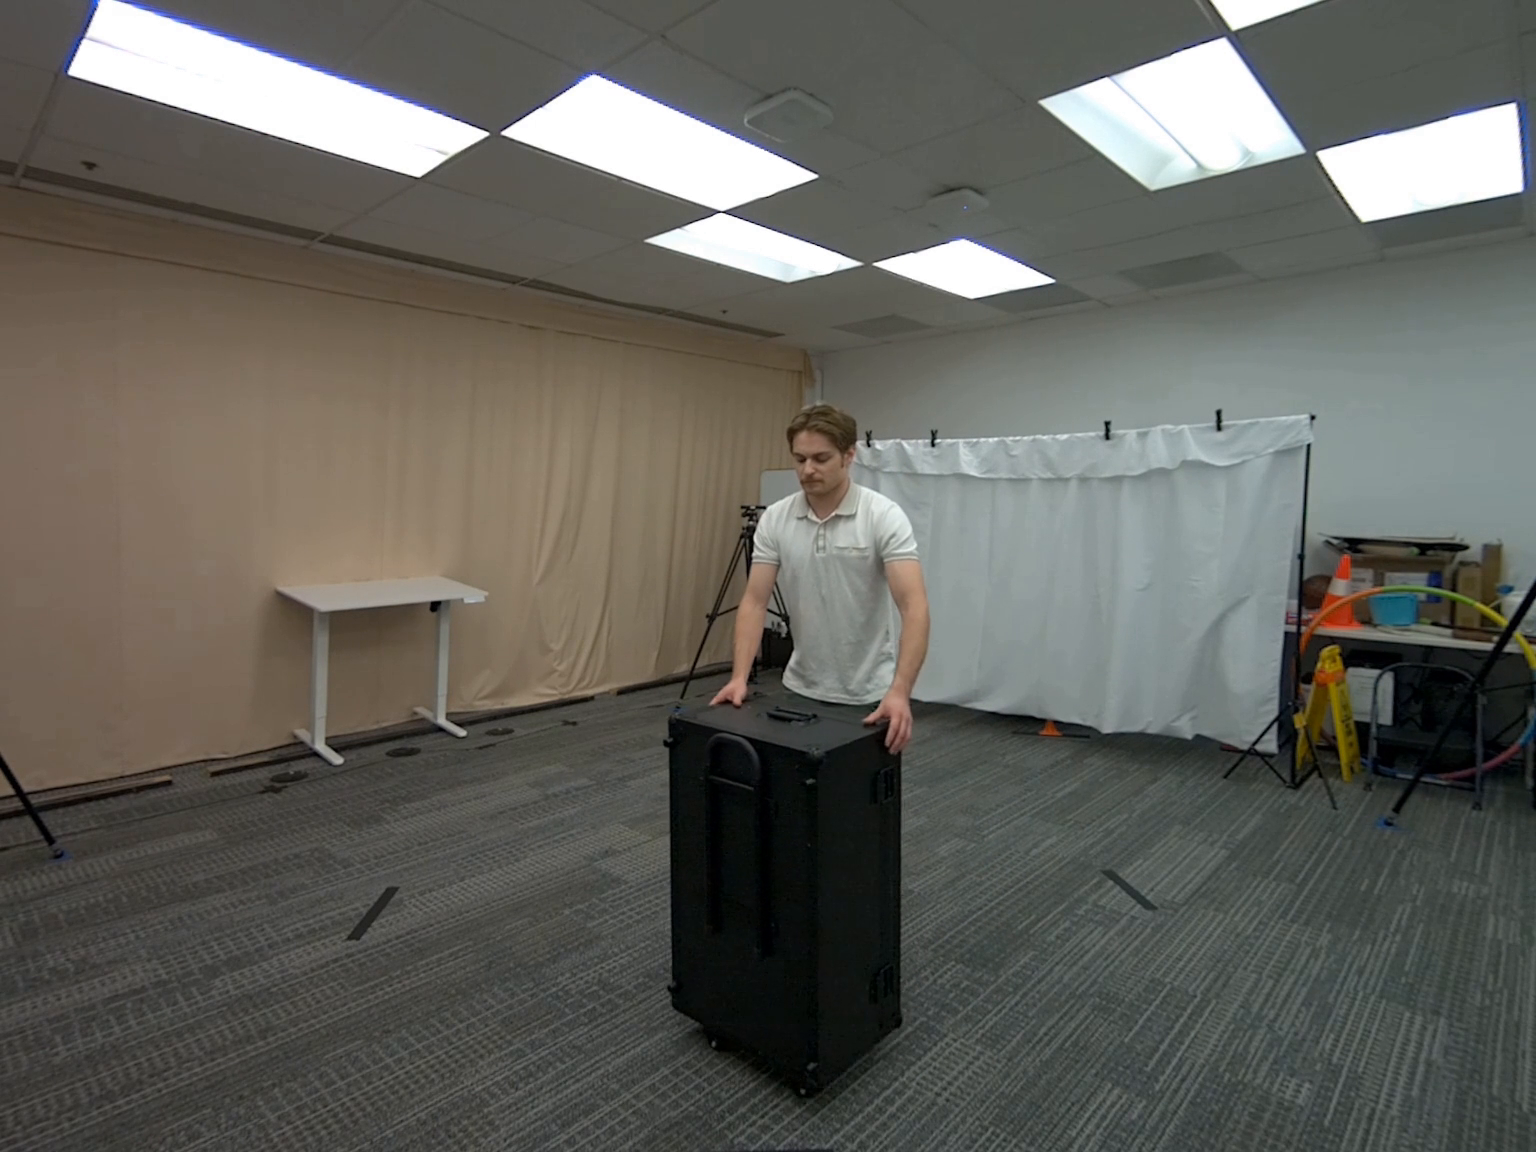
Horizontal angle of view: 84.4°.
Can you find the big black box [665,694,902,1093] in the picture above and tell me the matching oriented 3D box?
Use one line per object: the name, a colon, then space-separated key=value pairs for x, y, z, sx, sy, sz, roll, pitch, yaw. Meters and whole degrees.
big black box: x=0.045 y=0.791 z=2.146 sx=0.541 sy=0.867 sz=0.373 roll=3 pitch=4 yaw=43
